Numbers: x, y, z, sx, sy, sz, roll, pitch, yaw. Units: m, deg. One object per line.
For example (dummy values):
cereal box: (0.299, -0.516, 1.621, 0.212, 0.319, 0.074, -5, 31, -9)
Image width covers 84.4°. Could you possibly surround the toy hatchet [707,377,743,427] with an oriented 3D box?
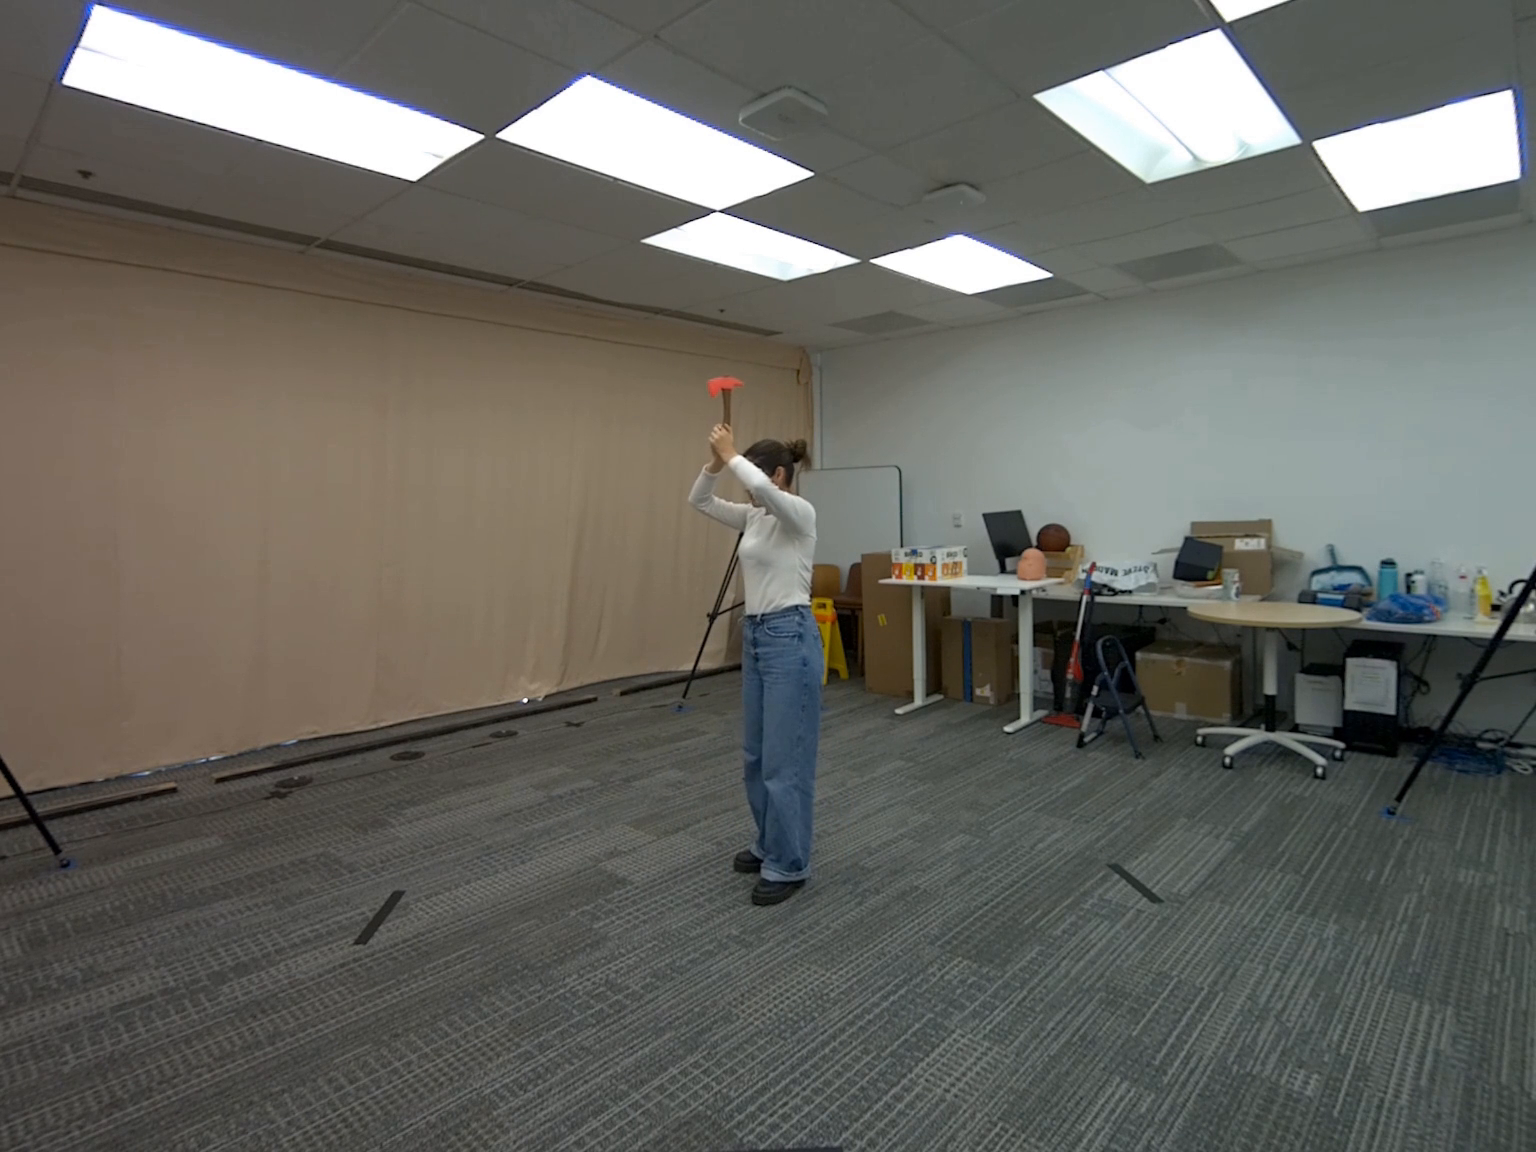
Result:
toy hatchet: (-0.169, -0.591, 2.994, 0.128, 0.271, 0.030, 16, -7, -19)
